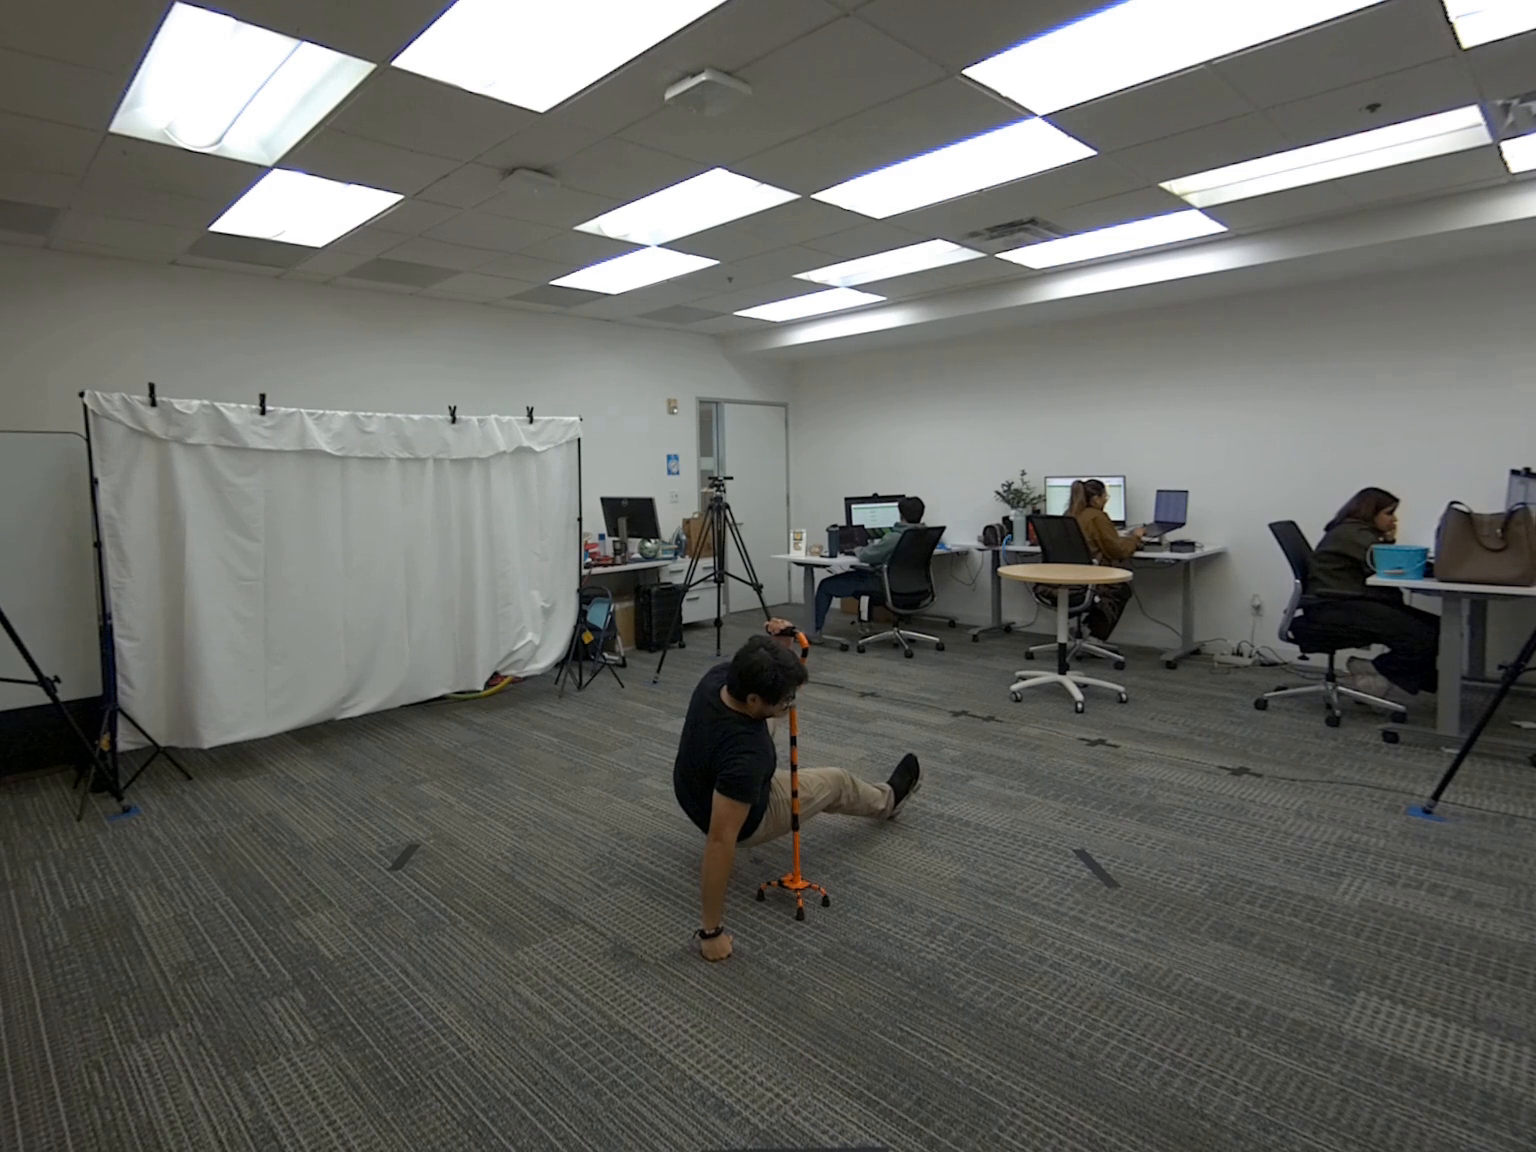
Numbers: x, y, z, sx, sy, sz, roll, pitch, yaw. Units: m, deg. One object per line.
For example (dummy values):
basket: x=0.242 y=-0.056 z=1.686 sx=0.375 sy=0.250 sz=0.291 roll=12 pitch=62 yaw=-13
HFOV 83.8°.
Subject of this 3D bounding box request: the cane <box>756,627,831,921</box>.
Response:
cane: x=0.073 y=0.619 z=2.784 sx=0.147 sy=0.906 sz=0.212 roll=-4 pitch=3 yaw=-41
